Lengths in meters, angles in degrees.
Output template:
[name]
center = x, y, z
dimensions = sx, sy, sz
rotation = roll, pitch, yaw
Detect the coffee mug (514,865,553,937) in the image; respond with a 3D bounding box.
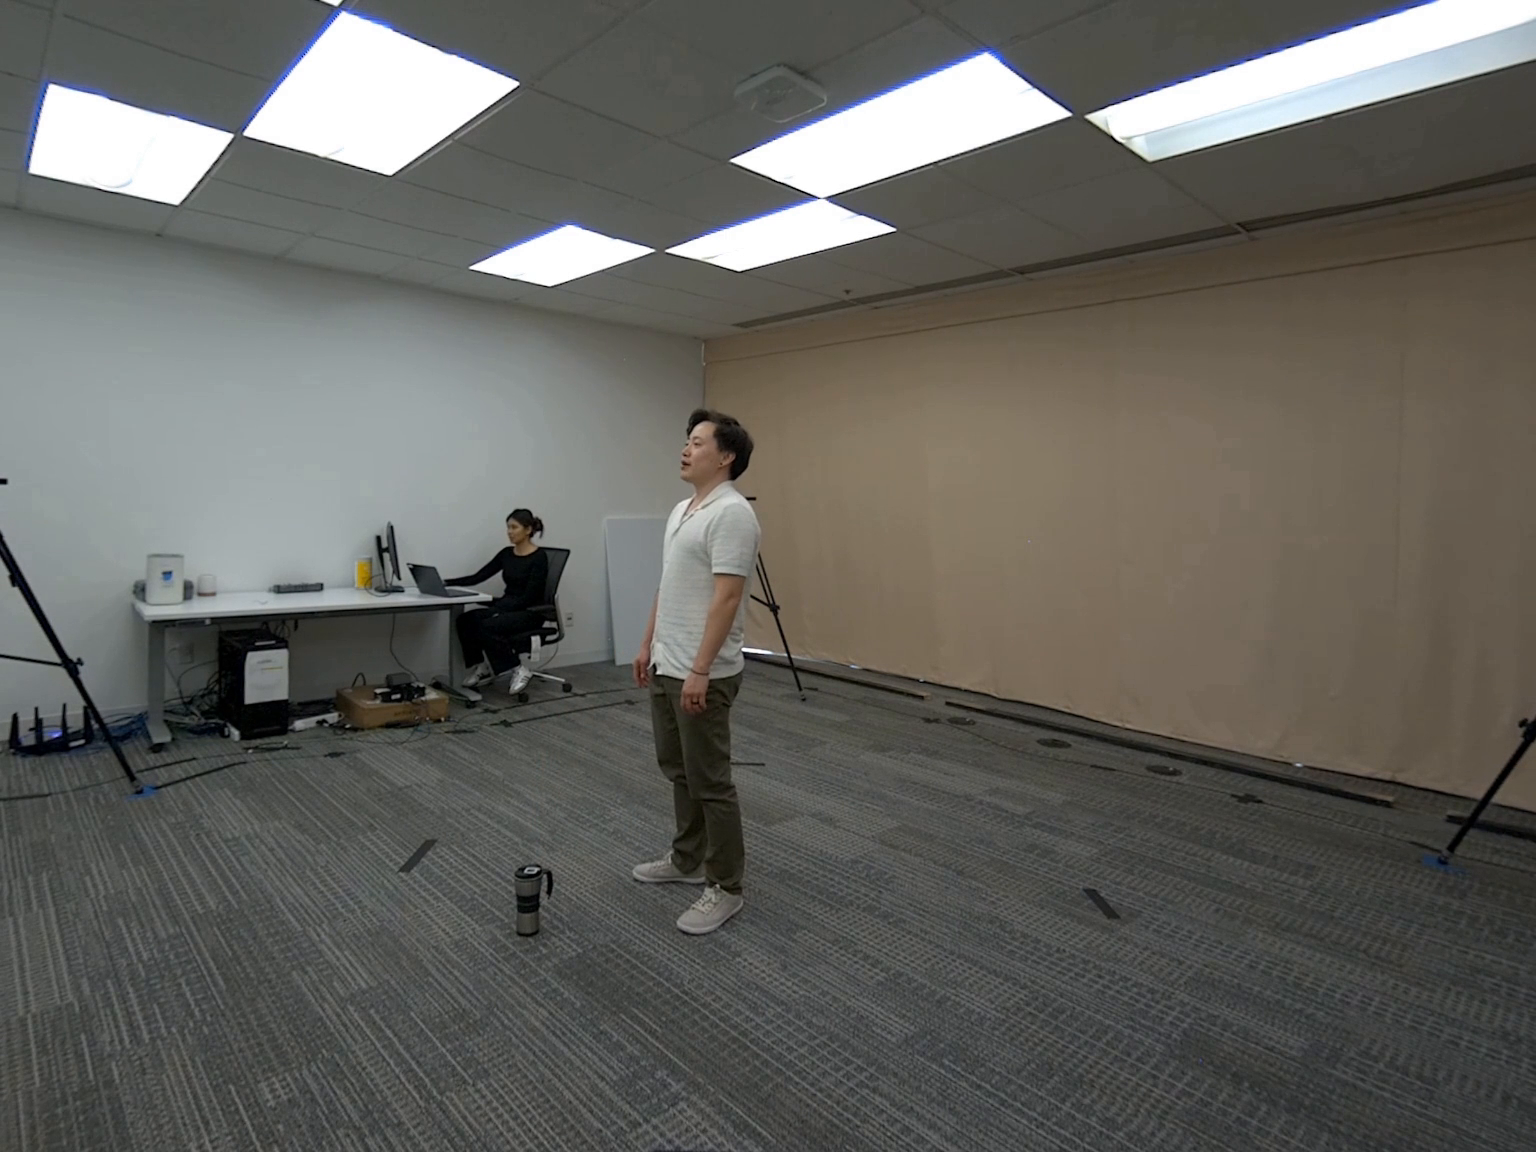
[coffee mug]
center = -0.747, 1.036, 2.673
dimensions = 0.120, 0.203, 0.089
rotation = -4, 2, -17
